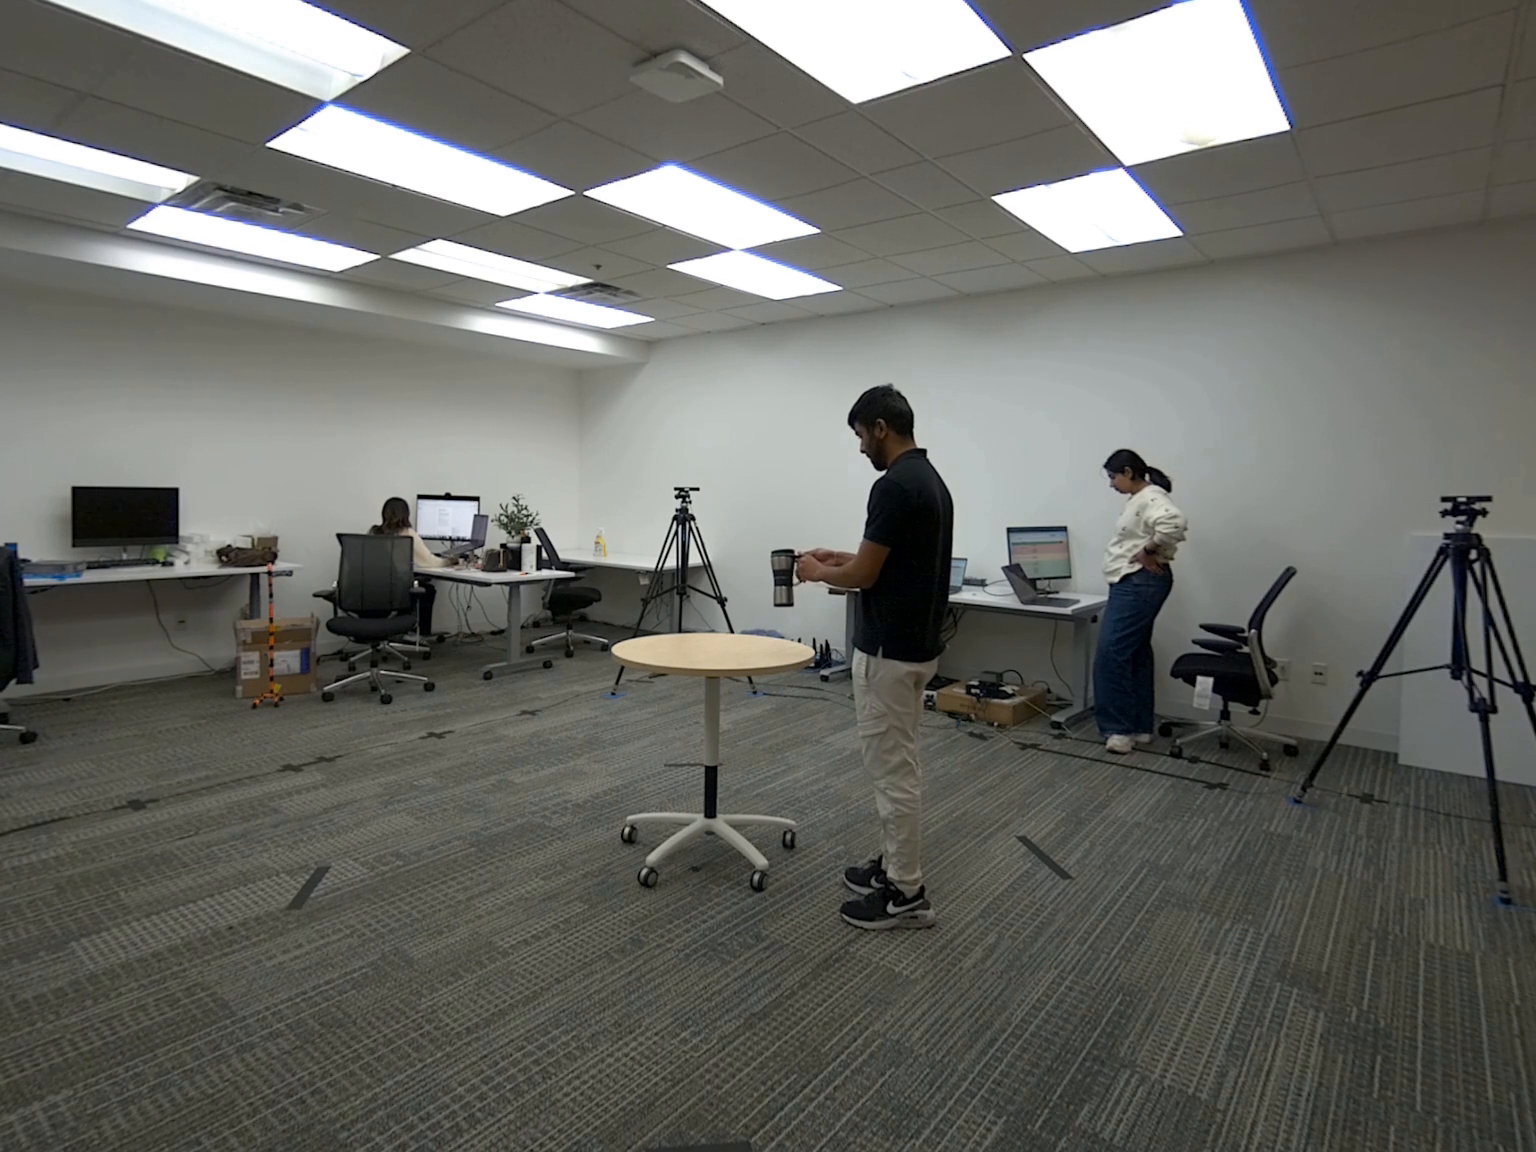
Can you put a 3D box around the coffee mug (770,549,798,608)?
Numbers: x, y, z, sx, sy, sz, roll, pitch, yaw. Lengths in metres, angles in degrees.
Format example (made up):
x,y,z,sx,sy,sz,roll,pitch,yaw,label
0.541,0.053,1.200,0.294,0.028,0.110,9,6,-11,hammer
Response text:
x,y,z,sx,sy,sz,roll,pitch,yaw,label
0.071,0.006,3.049,0.123,0.204,0.086,-6,-7,7,coffee mug
